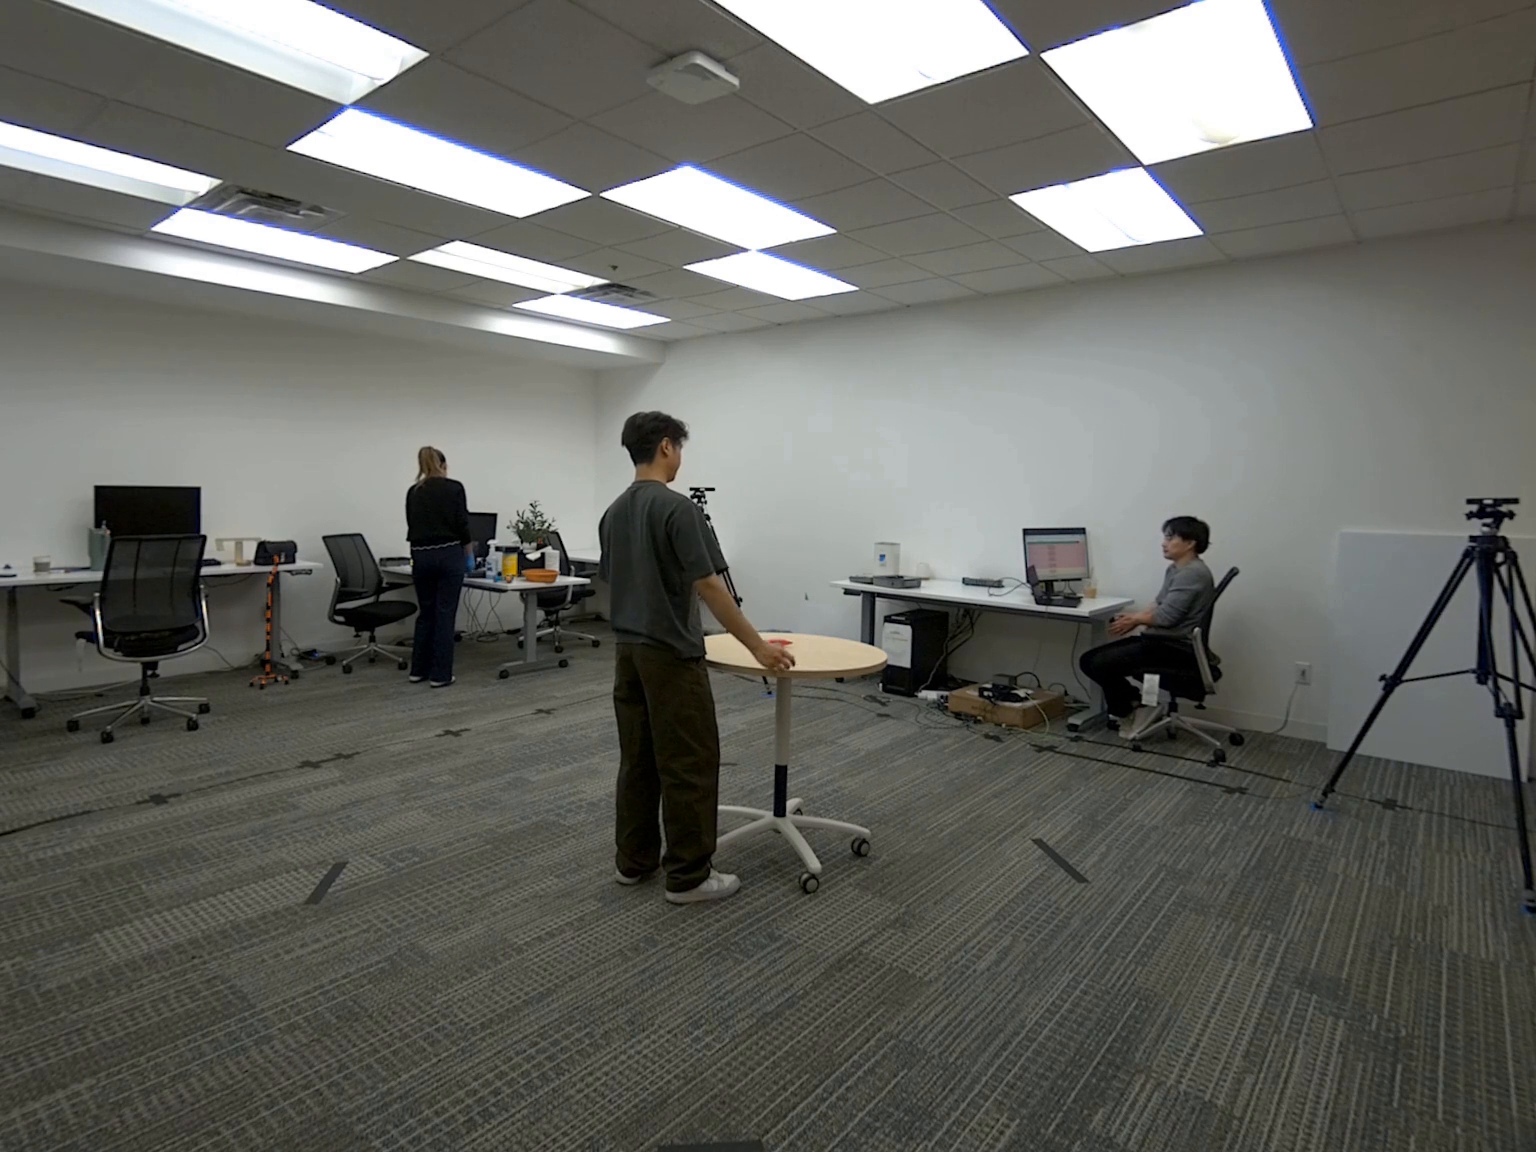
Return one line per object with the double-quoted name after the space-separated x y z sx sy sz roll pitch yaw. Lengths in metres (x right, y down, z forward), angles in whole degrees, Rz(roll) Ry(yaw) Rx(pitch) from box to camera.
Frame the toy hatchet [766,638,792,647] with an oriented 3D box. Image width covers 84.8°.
-0.003 0.270 3.172 0.133 0.029 0.267 3 6 12 "toy hatchet"
